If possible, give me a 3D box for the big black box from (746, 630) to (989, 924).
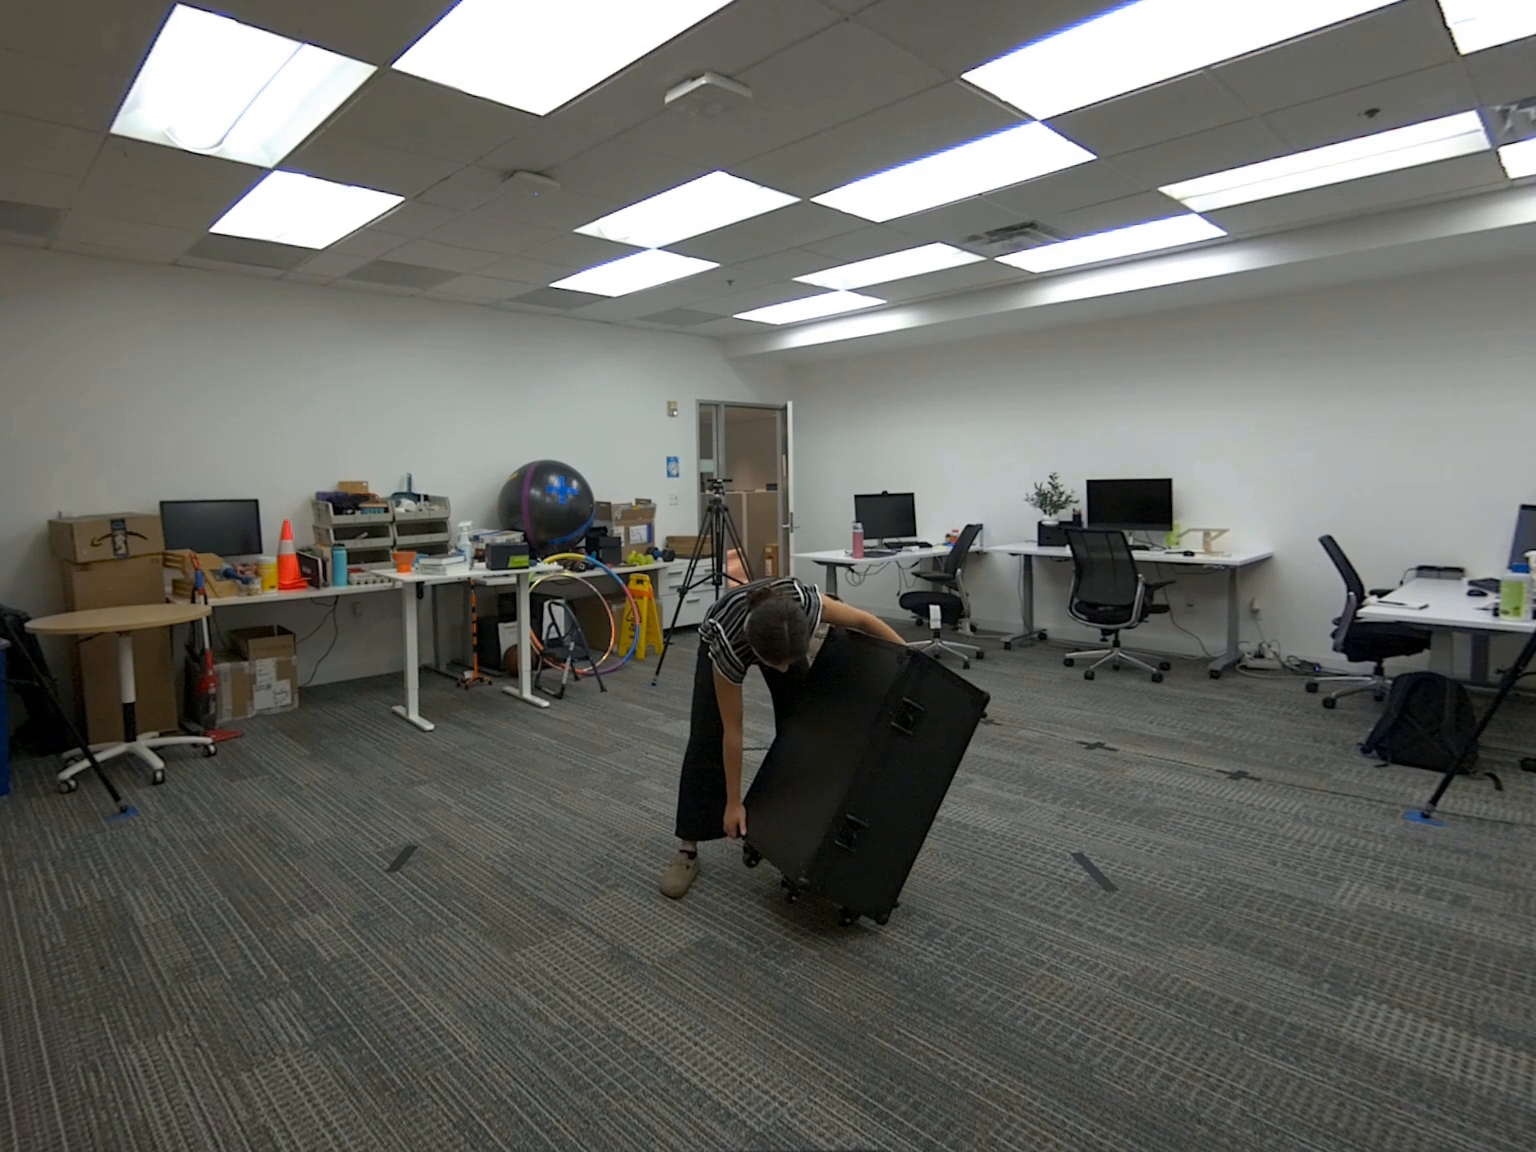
[{"bbox_3d":[0.287,0.651,2.811,0.385,0.864,0.534,33,-11,-25],"label":"big black box"}]
